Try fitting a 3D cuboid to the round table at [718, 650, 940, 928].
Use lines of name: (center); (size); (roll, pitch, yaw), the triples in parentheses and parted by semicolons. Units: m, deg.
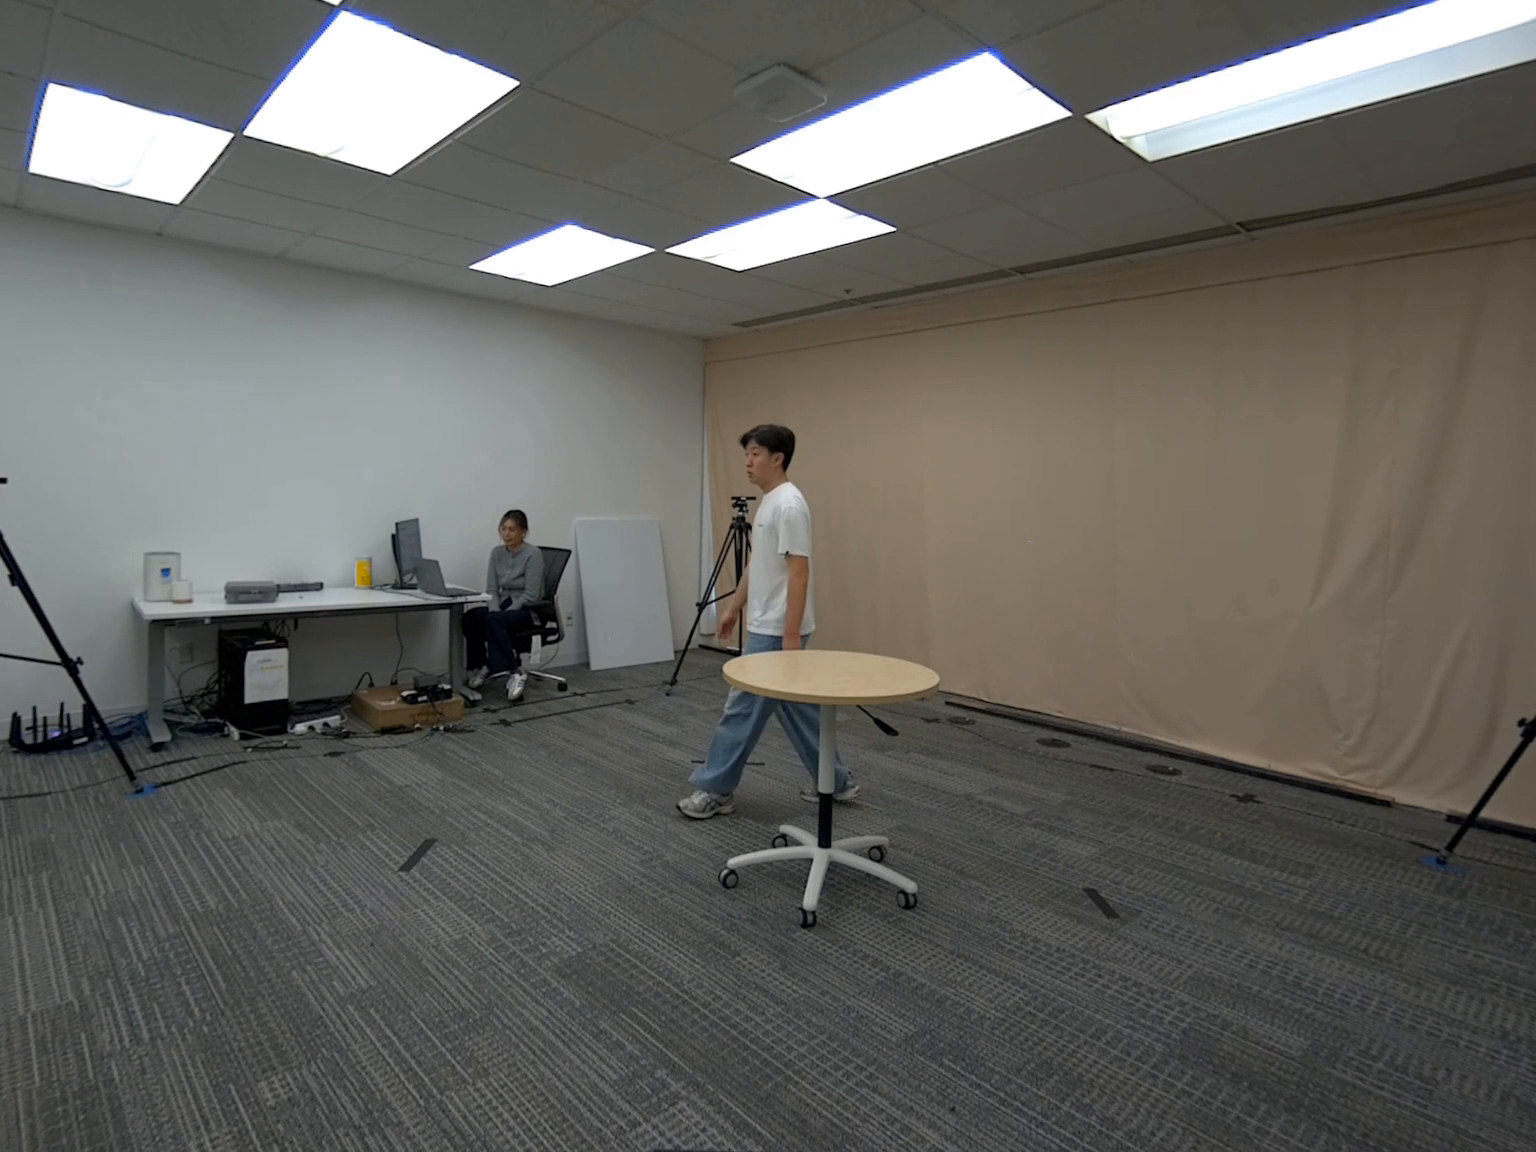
round table: (0.202, 0.733, 3.026); (0.763, 0.792, 0.767); (2, 4, -1)
